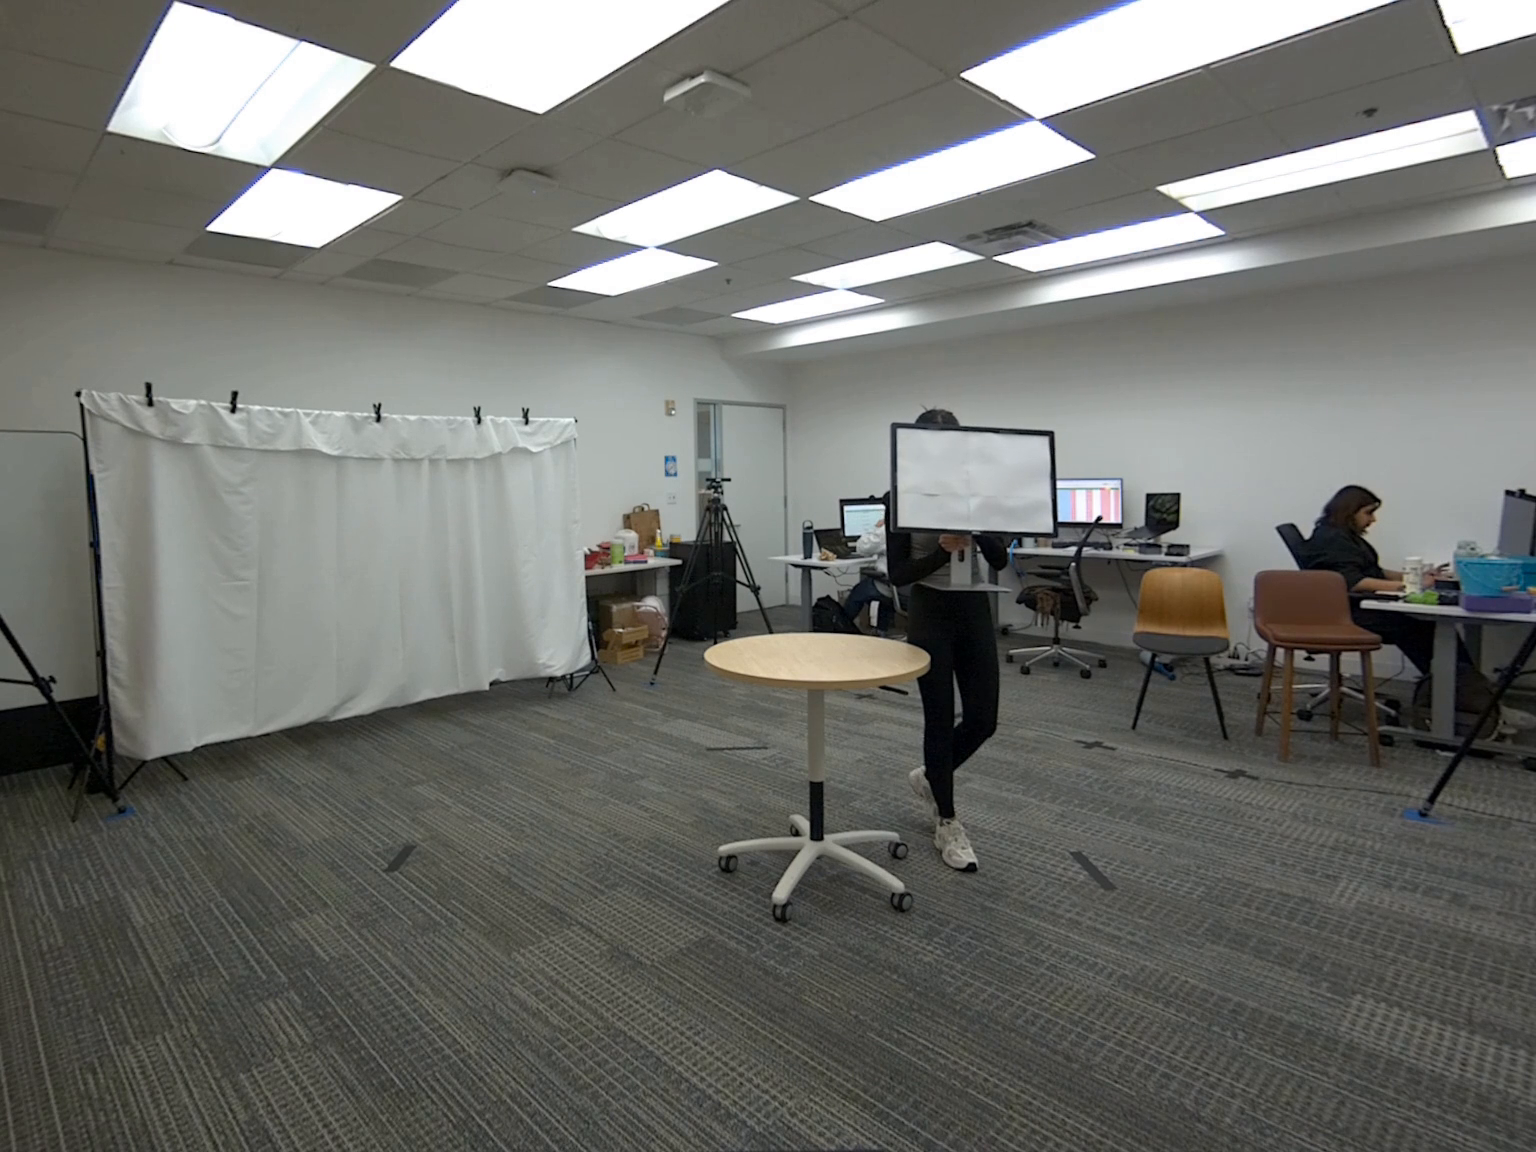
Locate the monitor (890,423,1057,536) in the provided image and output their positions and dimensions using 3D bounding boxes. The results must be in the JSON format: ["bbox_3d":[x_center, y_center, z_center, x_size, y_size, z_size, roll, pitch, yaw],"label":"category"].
[{"bbox_3d":[0.664,-0.224,2.851,0.535,0.521,0.189,2,3,-7],"label":"monitor"}]
